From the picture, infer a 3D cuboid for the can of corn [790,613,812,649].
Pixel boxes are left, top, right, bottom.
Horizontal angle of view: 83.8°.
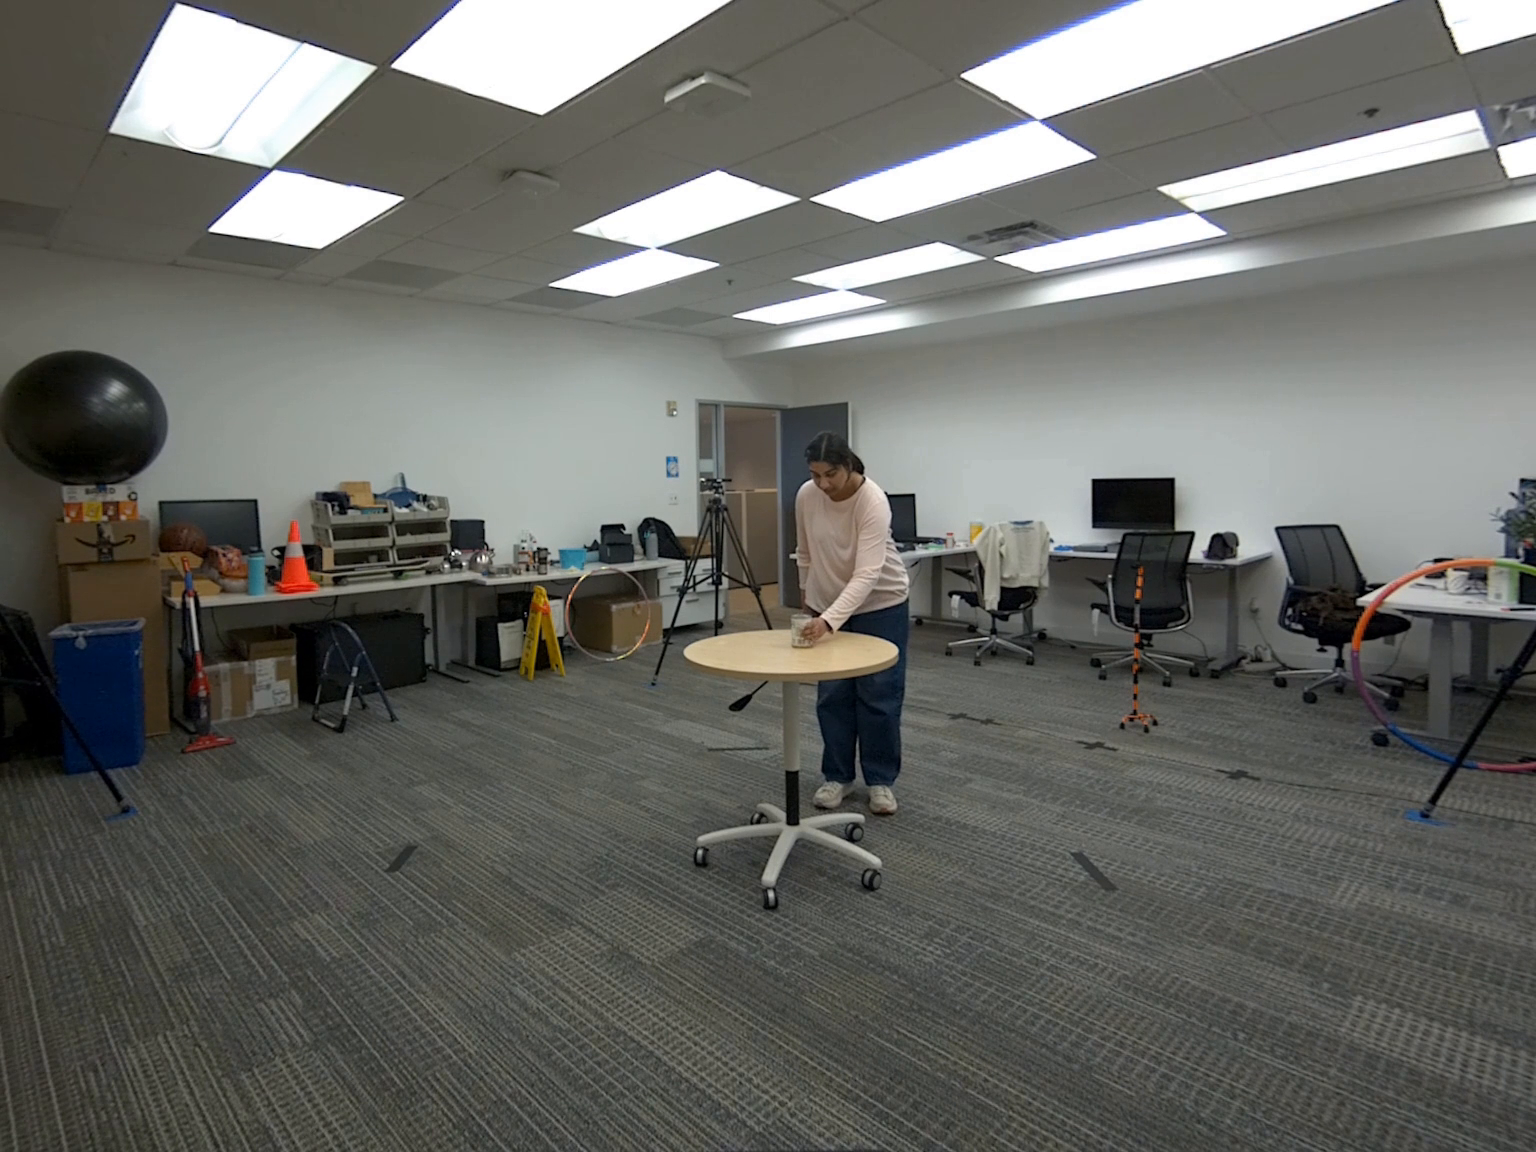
[{"bbox_3d":[0.128,0.200,3.098,0.074,0.110,0.074,-2,5,-2],"label":"can of corn"}]
